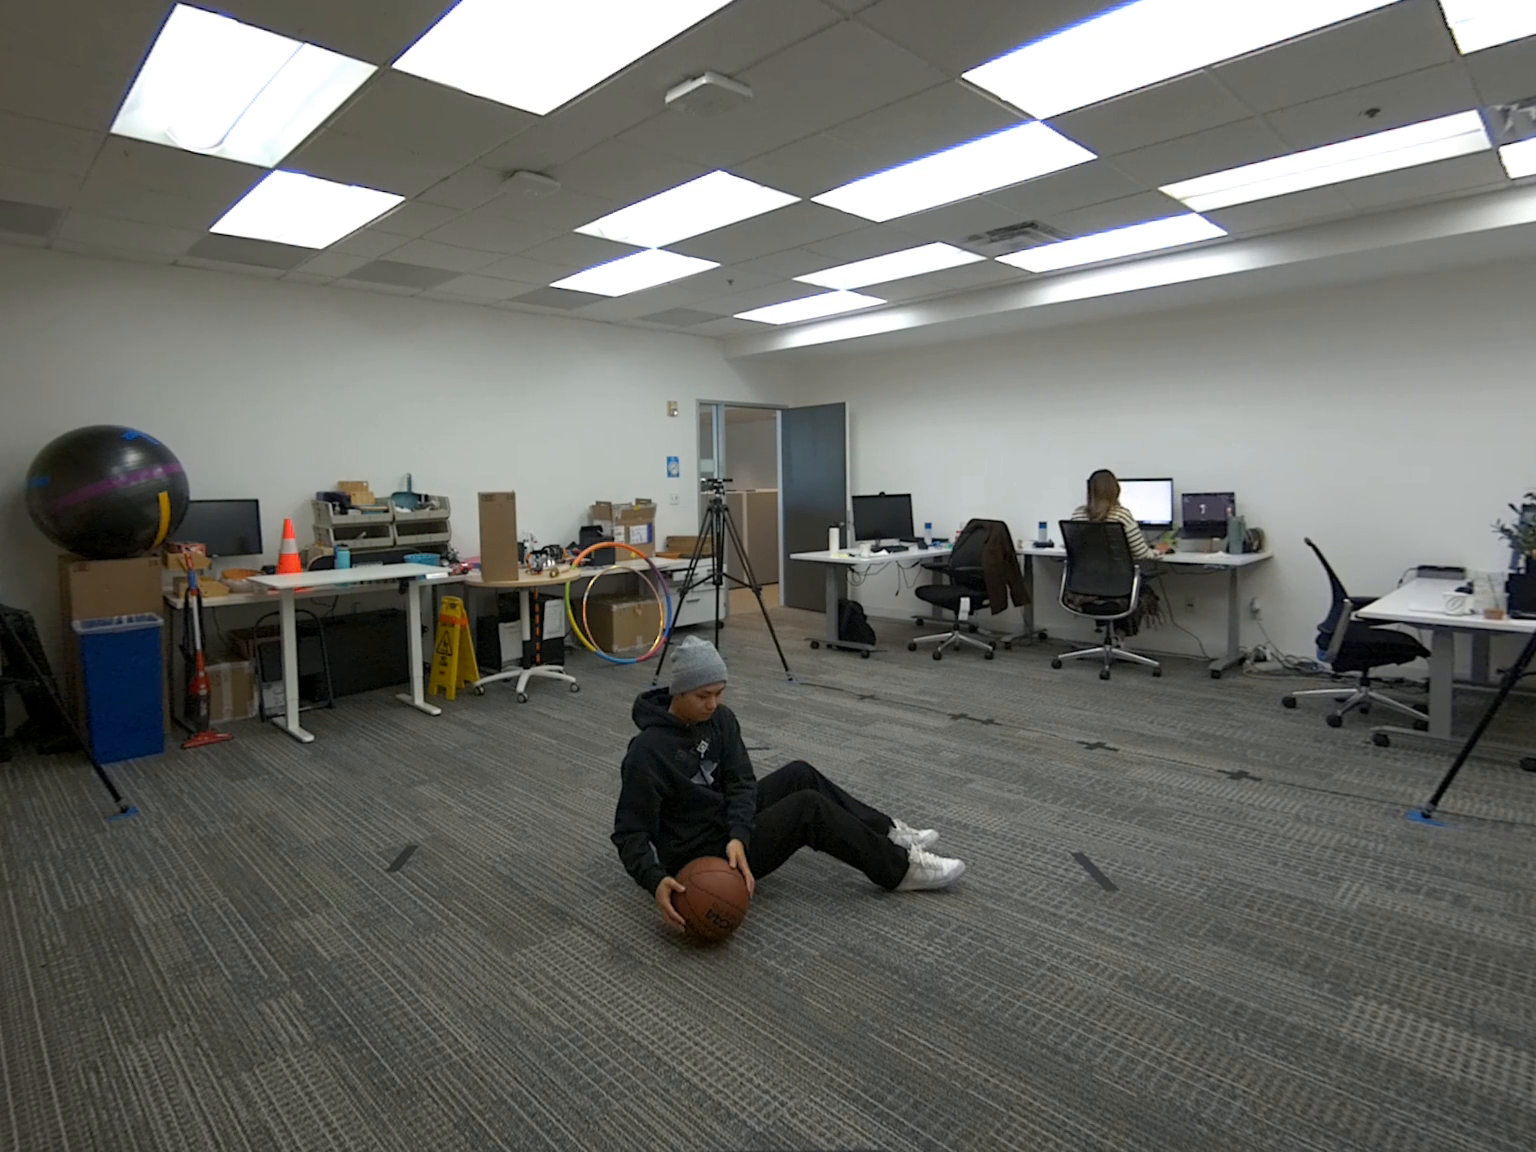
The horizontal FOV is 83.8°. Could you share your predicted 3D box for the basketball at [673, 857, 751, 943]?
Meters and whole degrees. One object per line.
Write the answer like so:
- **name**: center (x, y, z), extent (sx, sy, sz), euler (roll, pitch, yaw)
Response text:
- **basketball**: center (-0.178, 0.985, 2.614), extent (0.236, 0.235, 0.237), euler (-1, 5, -2)
